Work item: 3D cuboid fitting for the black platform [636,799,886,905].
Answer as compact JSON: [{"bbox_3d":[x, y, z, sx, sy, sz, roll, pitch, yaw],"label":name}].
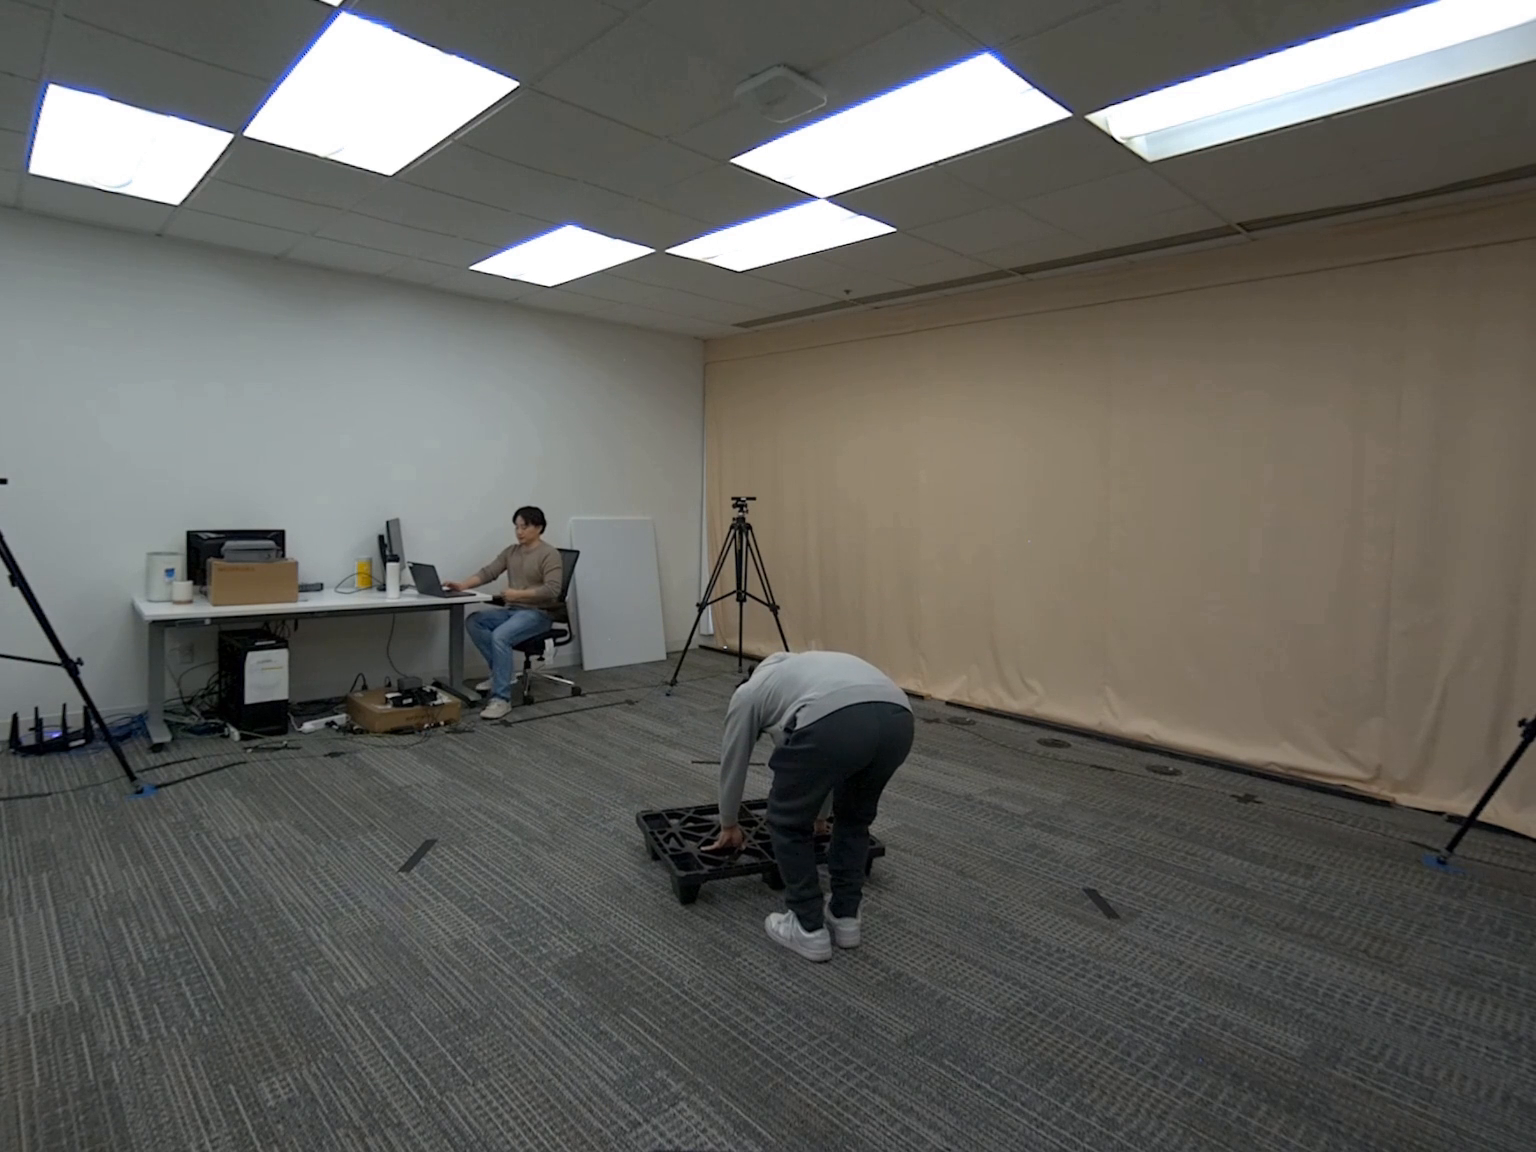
[{"bbox_3d":[-0.053,1.032,3.215,0.793,0.143,0.617,-1,6,-21],"label":"black platform"}]
